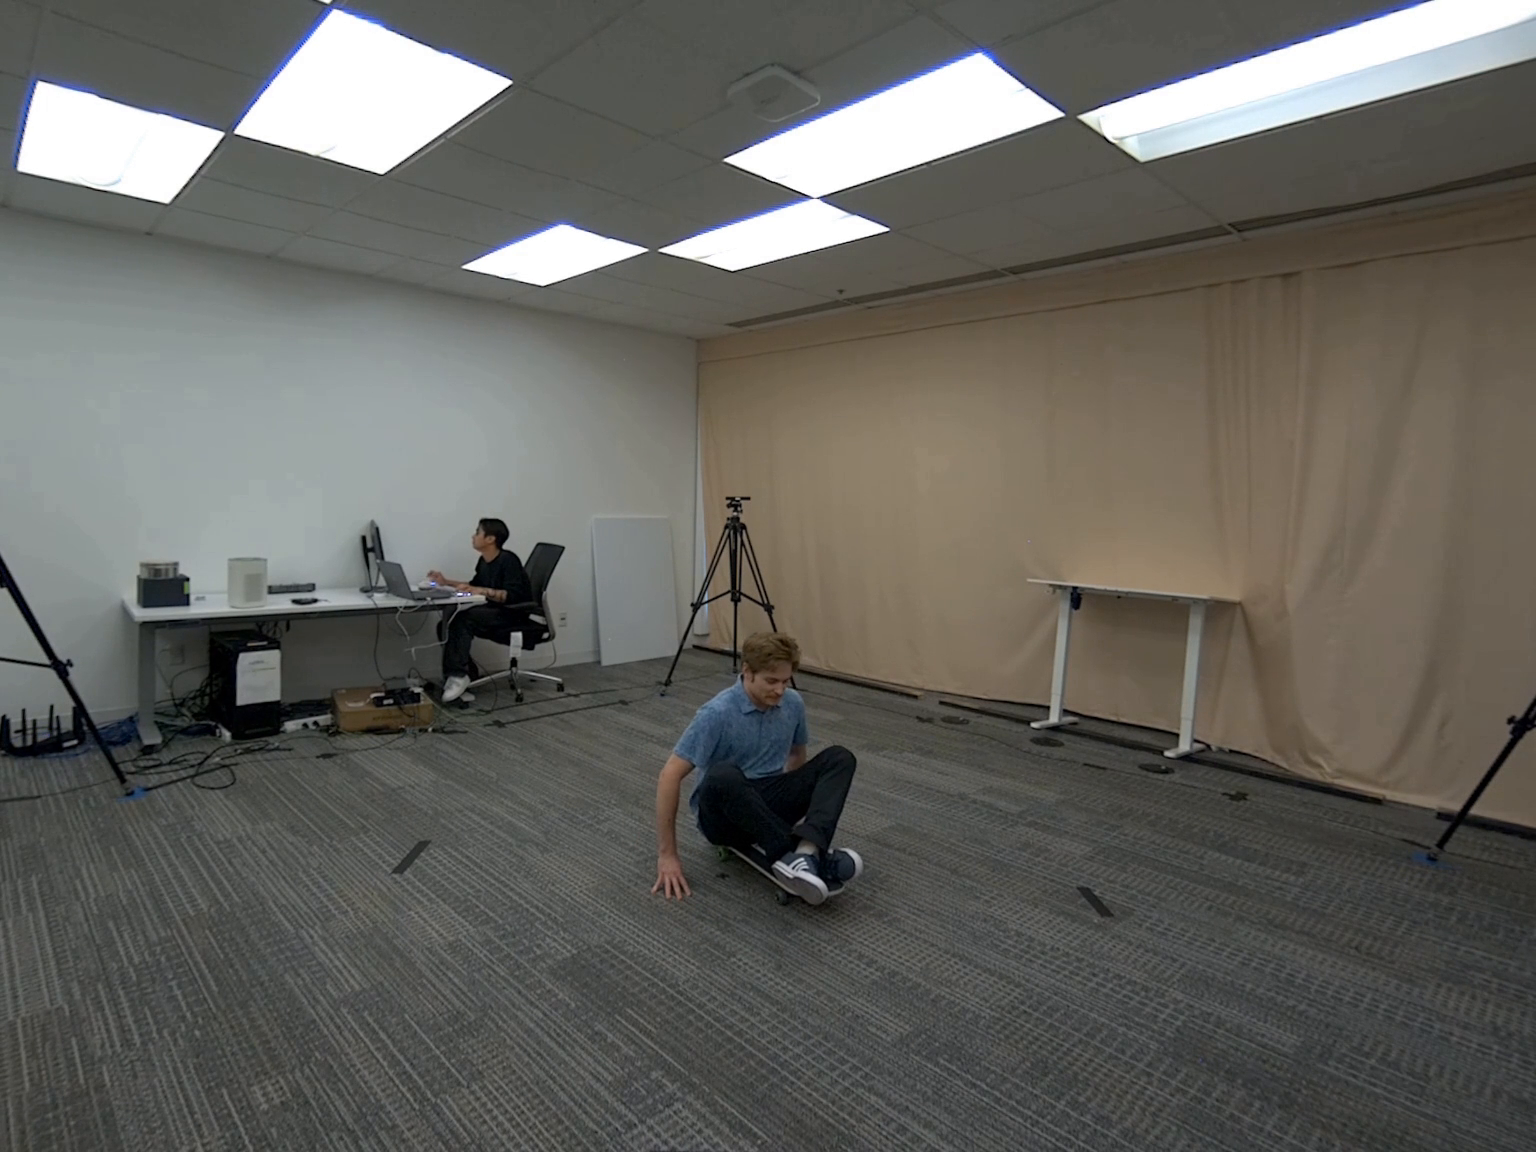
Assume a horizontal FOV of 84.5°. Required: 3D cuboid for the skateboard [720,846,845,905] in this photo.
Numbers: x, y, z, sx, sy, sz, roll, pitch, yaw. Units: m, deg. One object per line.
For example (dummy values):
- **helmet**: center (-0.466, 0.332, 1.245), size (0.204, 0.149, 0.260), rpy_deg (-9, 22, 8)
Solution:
- **skateboard**: center (0.008, 1.064, 3.104), size (0.189, 0.110, 0.804), rpy_deg (1, 4, -34)
